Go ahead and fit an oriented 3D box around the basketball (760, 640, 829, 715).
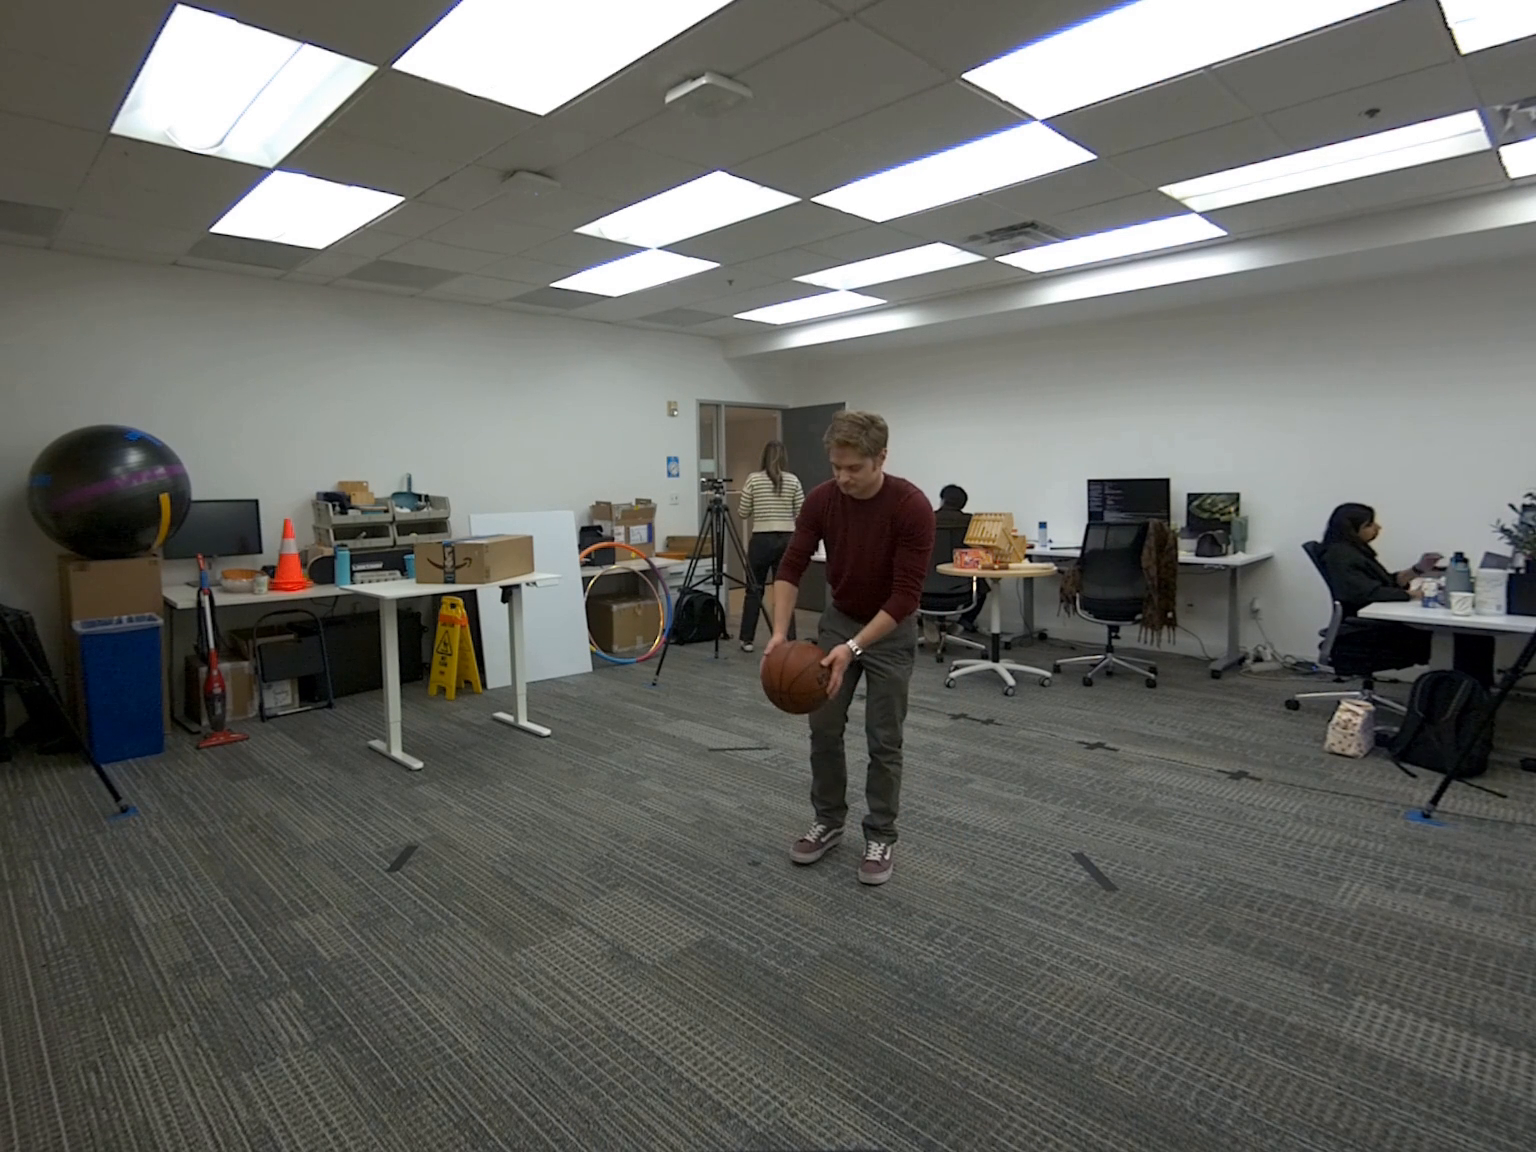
[{"bbox_3d":[0.100,0.331,2.789,0.236,0.235,0.237,-1,5,-2],"label":"basketball"}]
